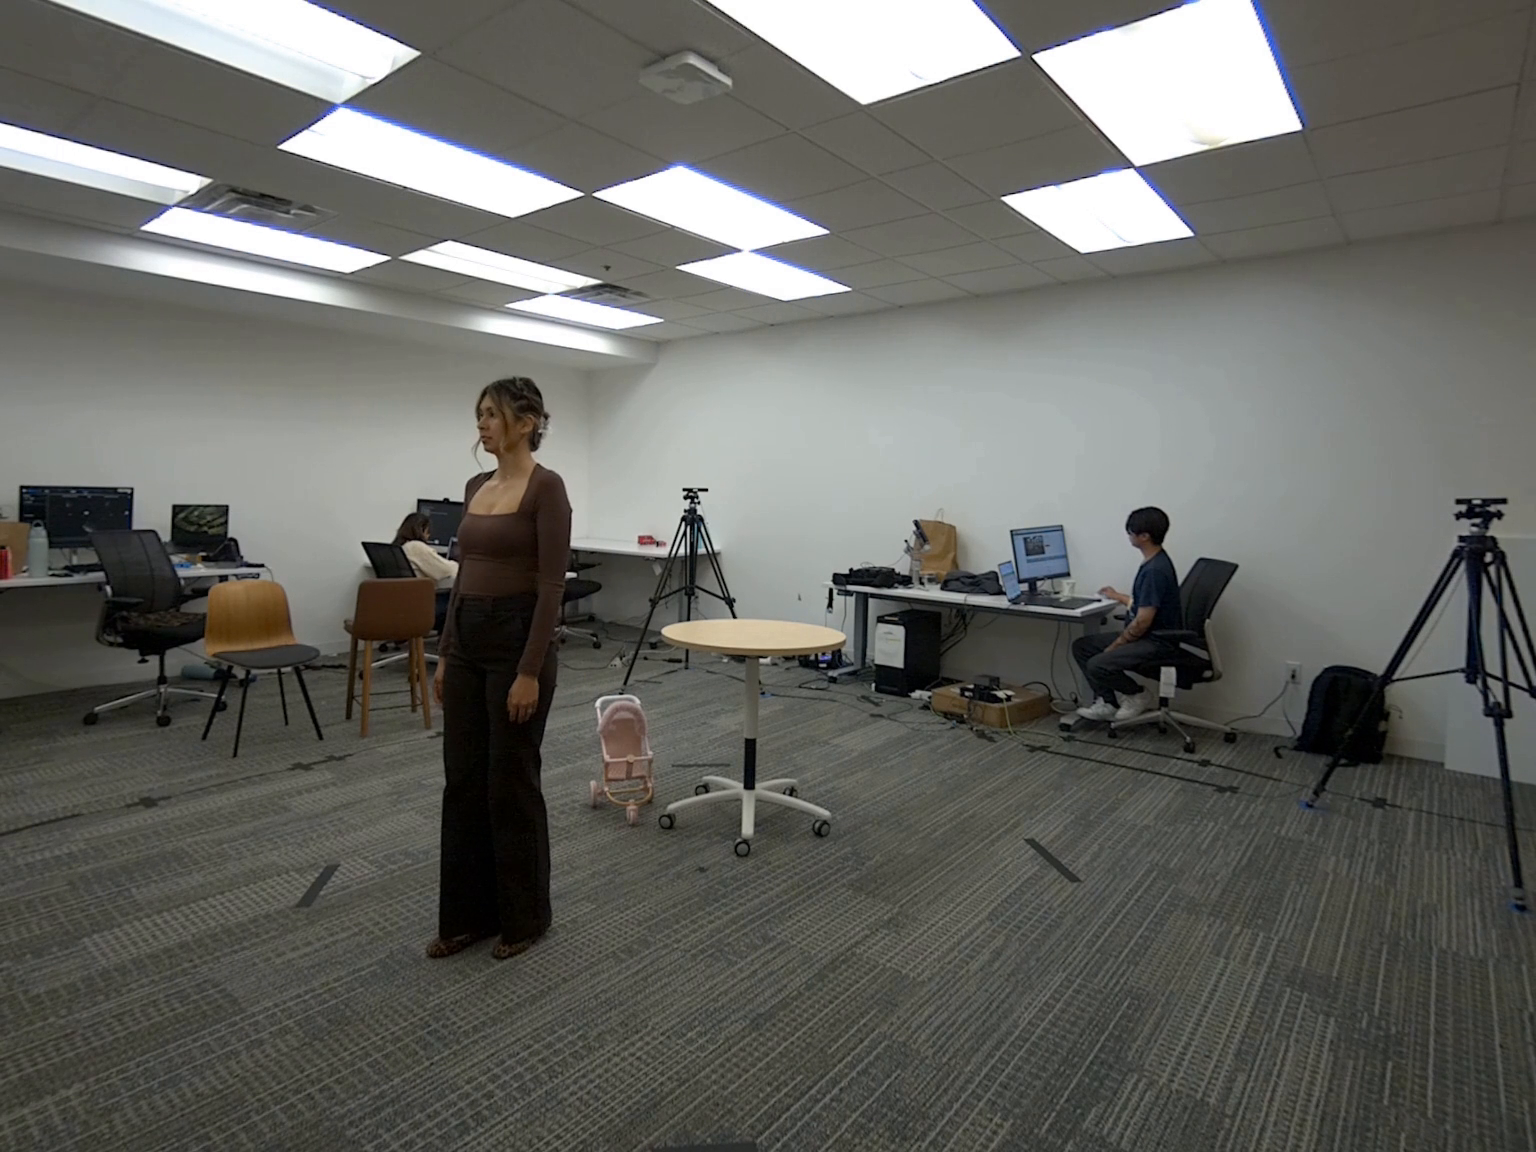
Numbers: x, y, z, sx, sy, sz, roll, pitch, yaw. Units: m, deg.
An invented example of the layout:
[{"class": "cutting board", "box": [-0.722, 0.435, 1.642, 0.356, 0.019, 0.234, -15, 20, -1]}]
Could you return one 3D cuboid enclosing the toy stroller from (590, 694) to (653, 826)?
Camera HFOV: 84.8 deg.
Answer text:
[{"class": "toy stroller", "box": [-0.634, 0.780, 3.683, 0.277, 0.541, 0.342, -1, -11, -15]}]
